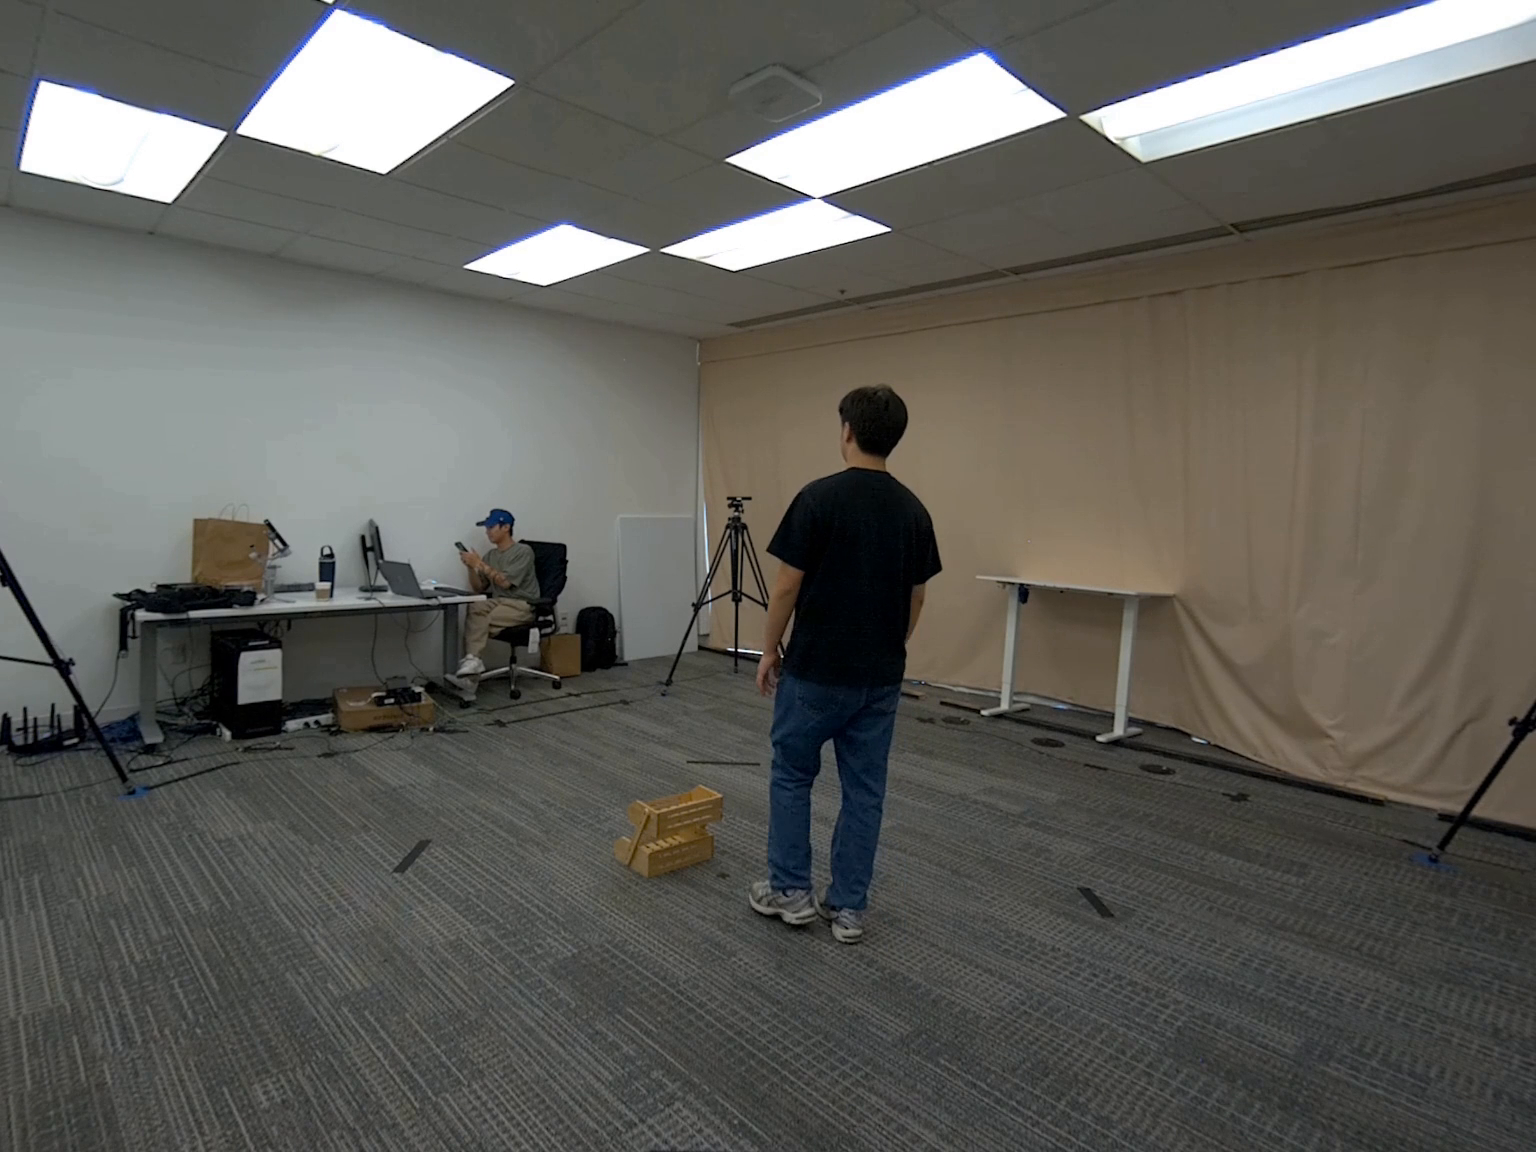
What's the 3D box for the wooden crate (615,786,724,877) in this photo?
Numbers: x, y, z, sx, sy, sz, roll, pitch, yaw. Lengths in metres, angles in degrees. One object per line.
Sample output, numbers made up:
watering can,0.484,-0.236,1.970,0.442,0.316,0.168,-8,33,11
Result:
wooden crate,-0.391,0.957,3.229,0.317,0.272,0.310,-2,6,-40
